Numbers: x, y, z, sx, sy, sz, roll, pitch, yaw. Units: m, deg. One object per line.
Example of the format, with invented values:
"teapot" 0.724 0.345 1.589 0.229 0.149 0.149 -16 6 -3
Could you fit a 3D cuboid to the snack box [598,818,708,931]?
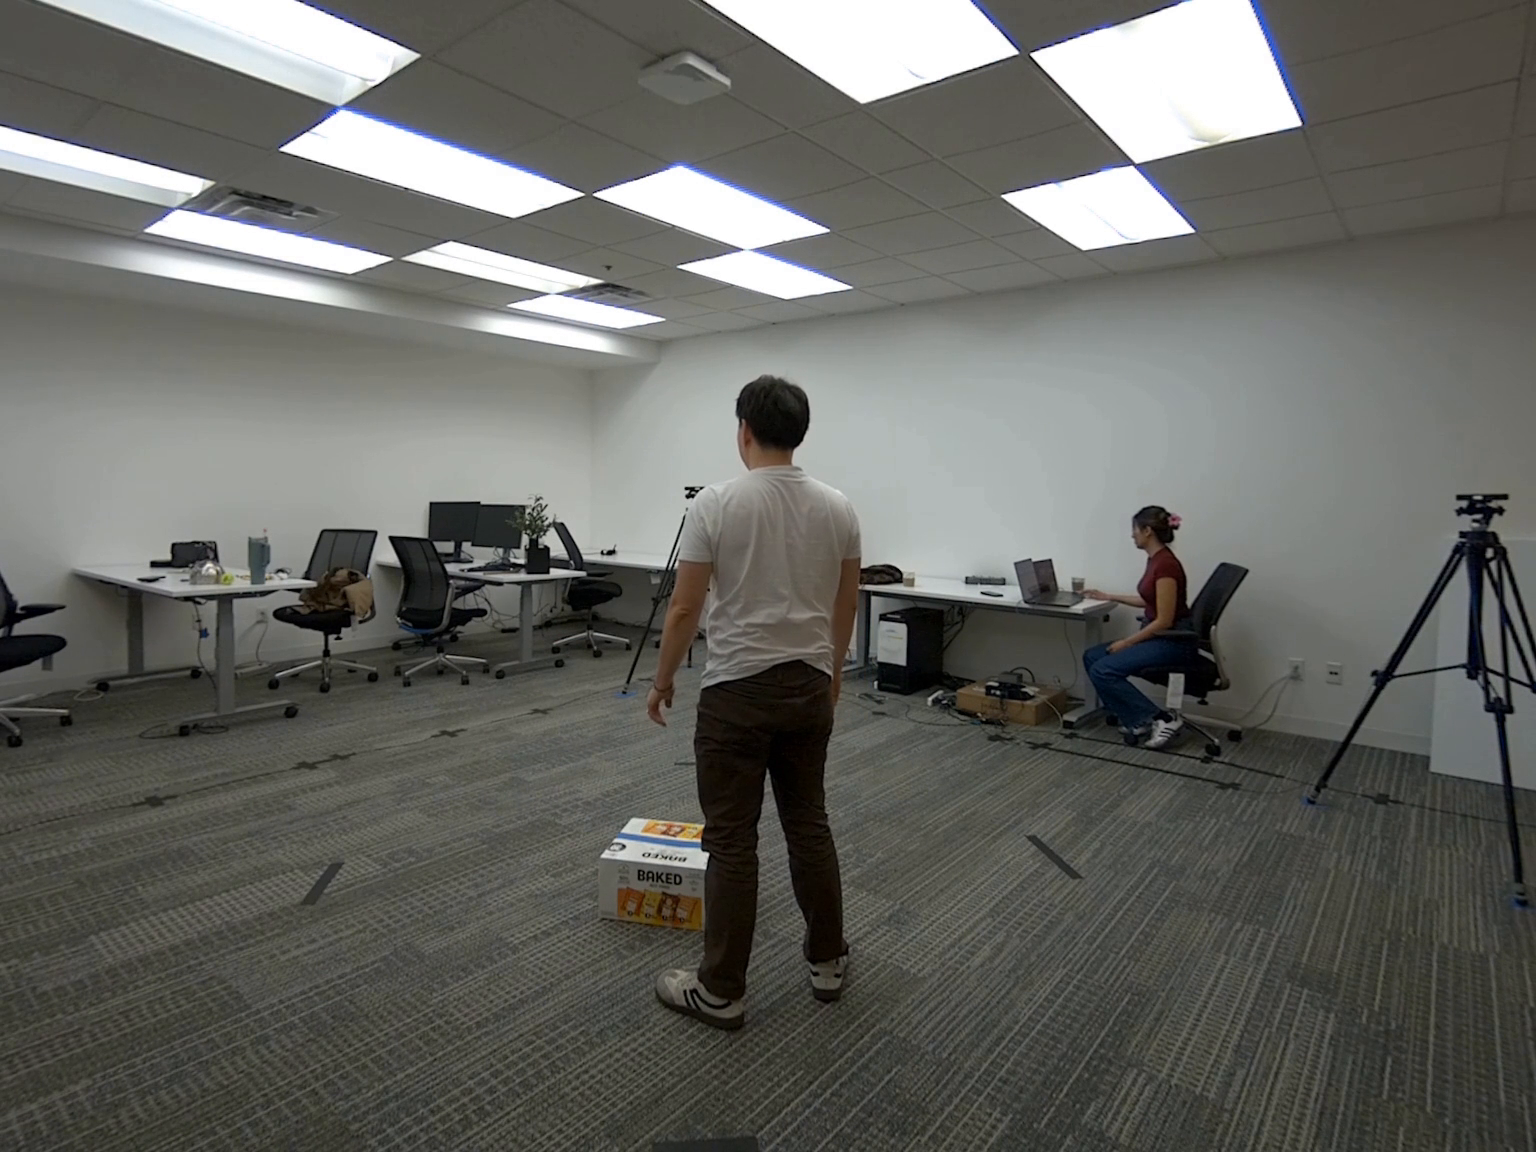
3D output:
"snack box" -0.327 0.987 2.845 0.410 0.205 0.337 2 5 10
